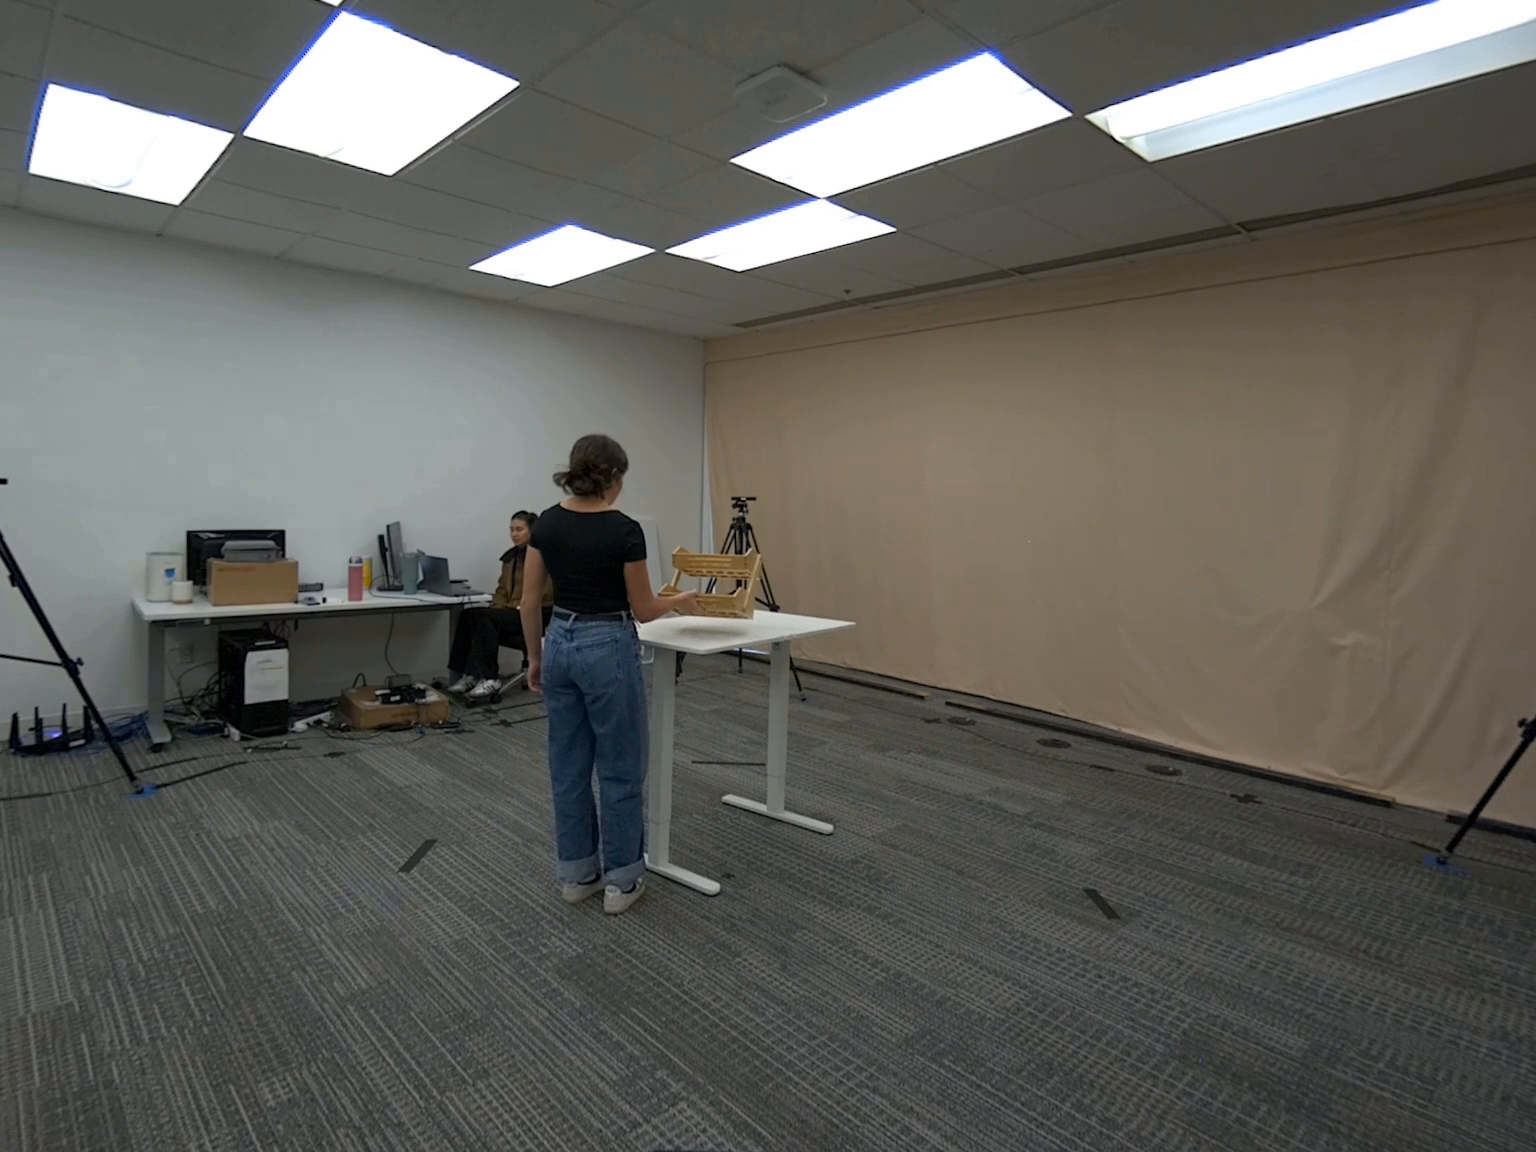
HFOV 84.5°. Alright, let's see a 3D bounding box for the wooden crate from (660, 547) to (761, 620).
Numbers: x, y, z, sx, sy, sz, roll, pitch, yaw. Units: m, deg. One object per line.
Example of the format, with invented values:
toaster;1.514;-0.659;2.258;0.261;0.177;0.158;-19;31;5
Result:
wooden crate;-0.223;0.015;3.208;0.329;0.275;0.295;2;-12;16
